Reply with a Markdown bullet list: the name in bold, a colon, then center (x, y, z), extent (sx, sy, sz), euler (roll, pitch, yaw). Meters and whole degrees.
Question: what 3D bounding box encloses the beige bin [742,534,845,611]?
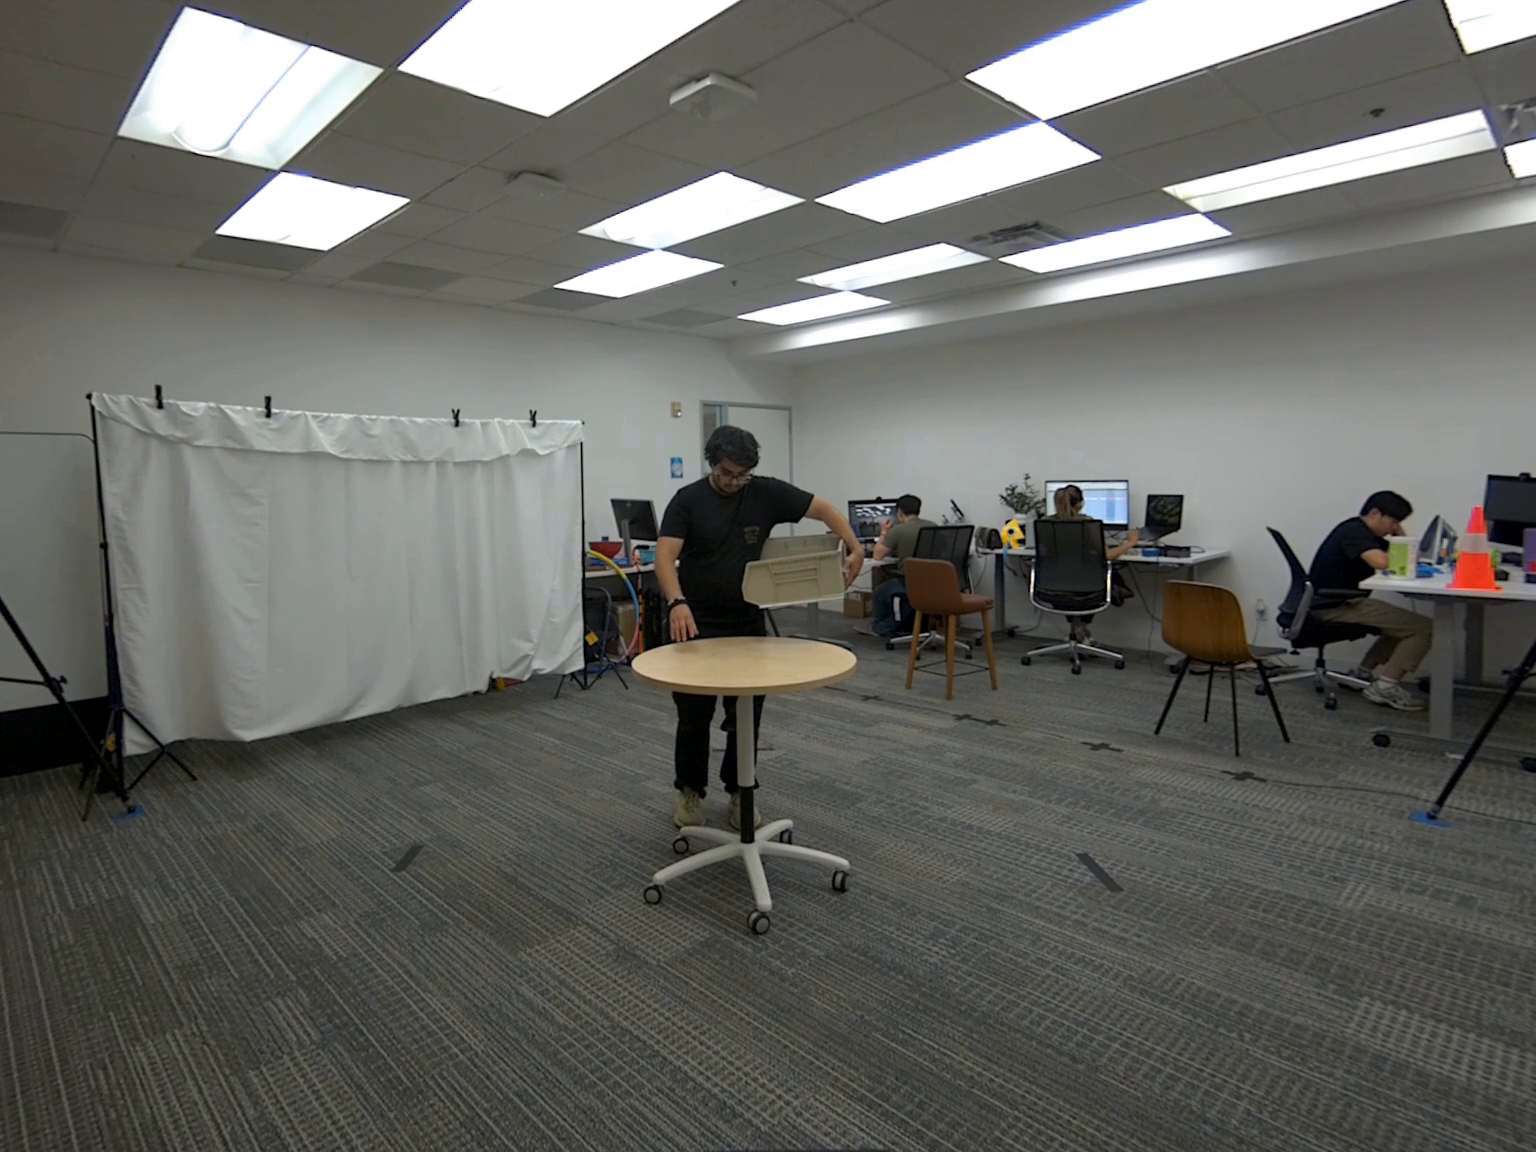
- **beige bin**: center (0.104, -0.029, 3.304), extent (0.380, 0.187, 0.424), euler (-4, 11, 6)
